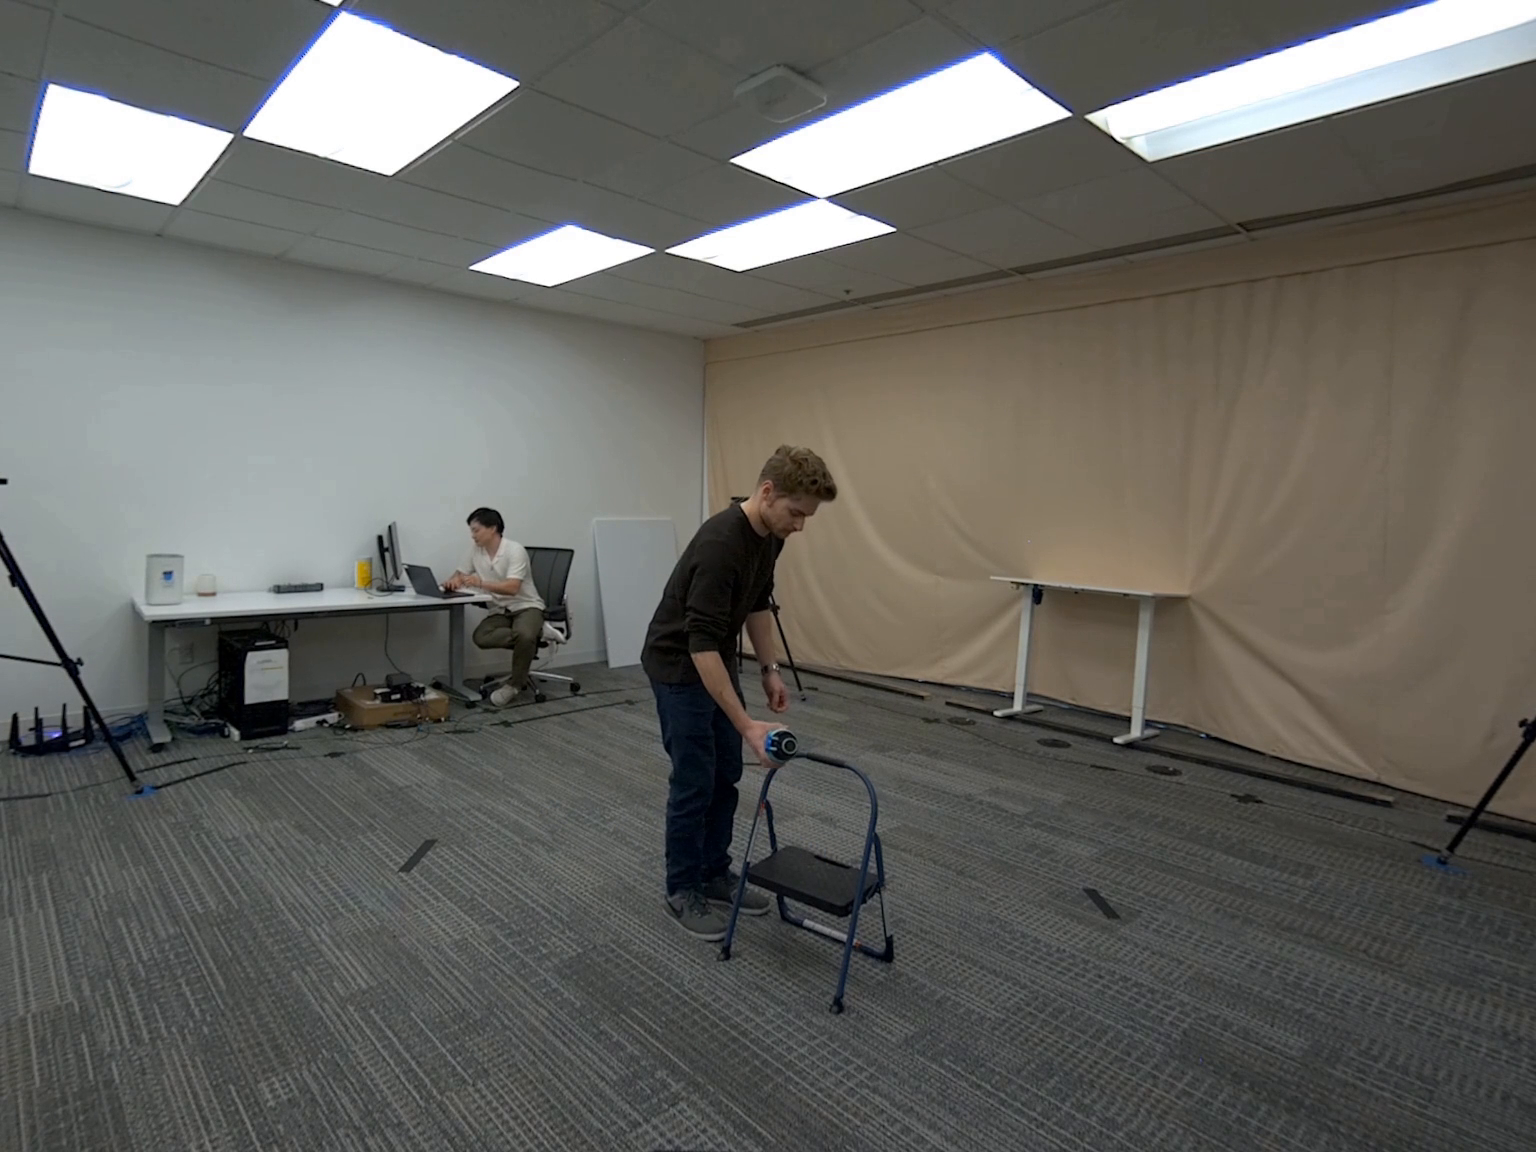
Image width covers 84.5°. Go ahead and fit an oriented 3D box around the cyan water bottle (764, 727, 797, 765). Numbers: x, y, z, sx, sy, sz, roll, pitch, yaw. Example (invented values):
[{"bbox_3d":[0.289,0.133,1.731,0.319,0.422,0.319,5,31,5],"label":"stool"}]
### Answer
[{"bbox_3d":[0.024,0.488,2.363,0.092,0.093,0.281,2,-12,-1],"label":"cyan water bottle"}]
